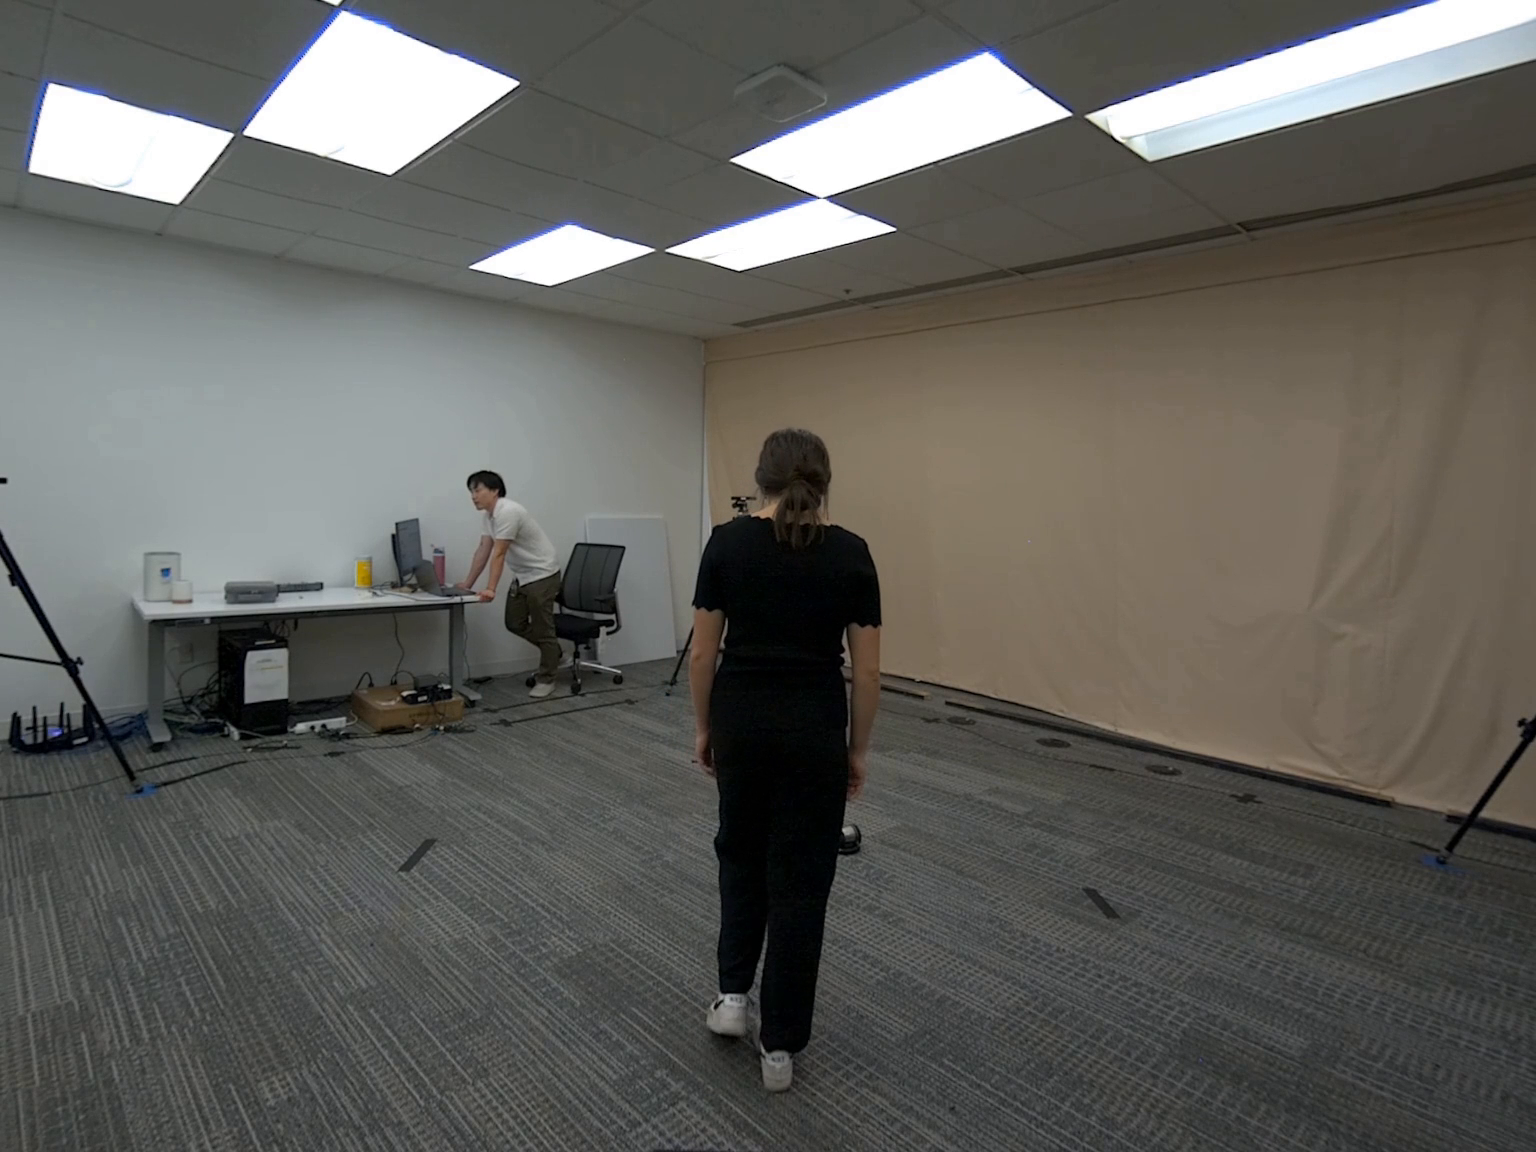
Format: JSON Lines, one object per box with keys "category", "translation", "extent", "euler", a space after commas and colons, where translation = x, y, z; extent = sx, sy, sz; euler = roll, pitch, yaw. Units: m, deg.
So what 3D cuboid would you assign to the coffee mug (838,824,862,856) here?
{"category": "coffee mug", "translation": [0.263, 1.047, 3.344], "extent": [0.199, 0.088, 0.123], "euler": [-2, -8, -29]}
